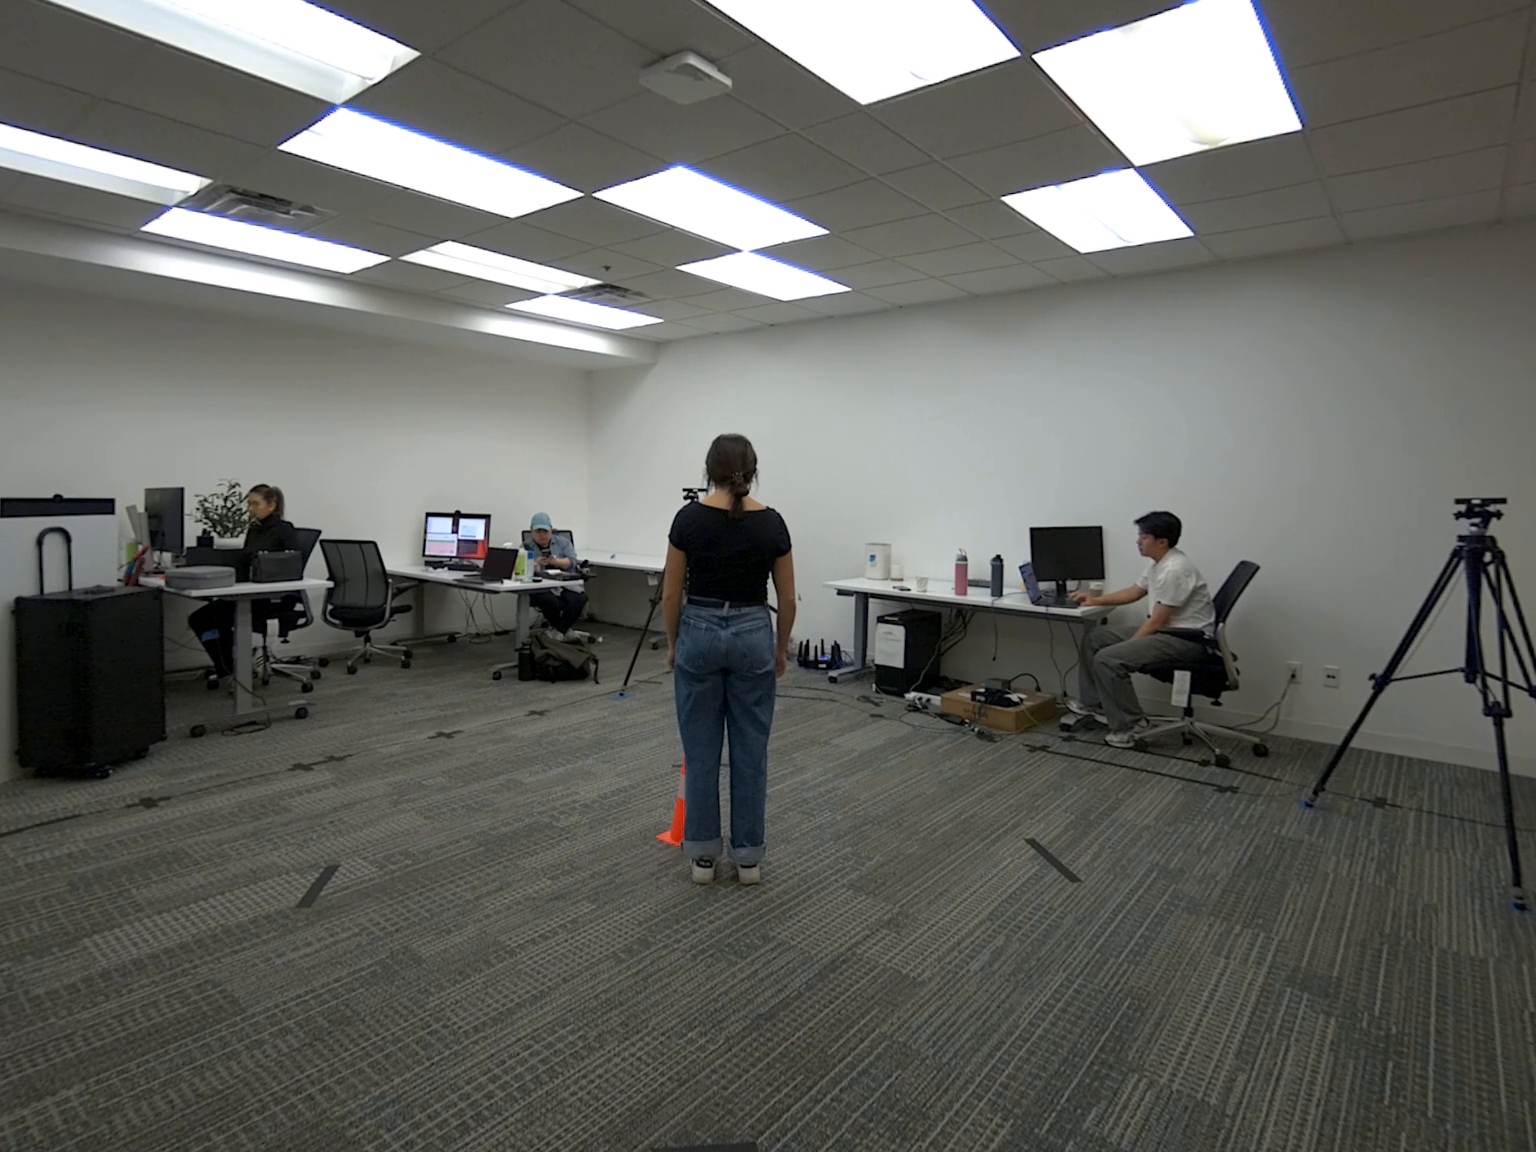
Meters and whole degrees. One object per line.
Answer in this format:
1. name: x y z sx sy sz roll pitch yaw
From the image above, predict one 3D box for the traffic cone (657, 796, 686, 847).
1. traffic cone: -0.313 0.849 3.392 0.210 0.382 0.199 2 5 38
